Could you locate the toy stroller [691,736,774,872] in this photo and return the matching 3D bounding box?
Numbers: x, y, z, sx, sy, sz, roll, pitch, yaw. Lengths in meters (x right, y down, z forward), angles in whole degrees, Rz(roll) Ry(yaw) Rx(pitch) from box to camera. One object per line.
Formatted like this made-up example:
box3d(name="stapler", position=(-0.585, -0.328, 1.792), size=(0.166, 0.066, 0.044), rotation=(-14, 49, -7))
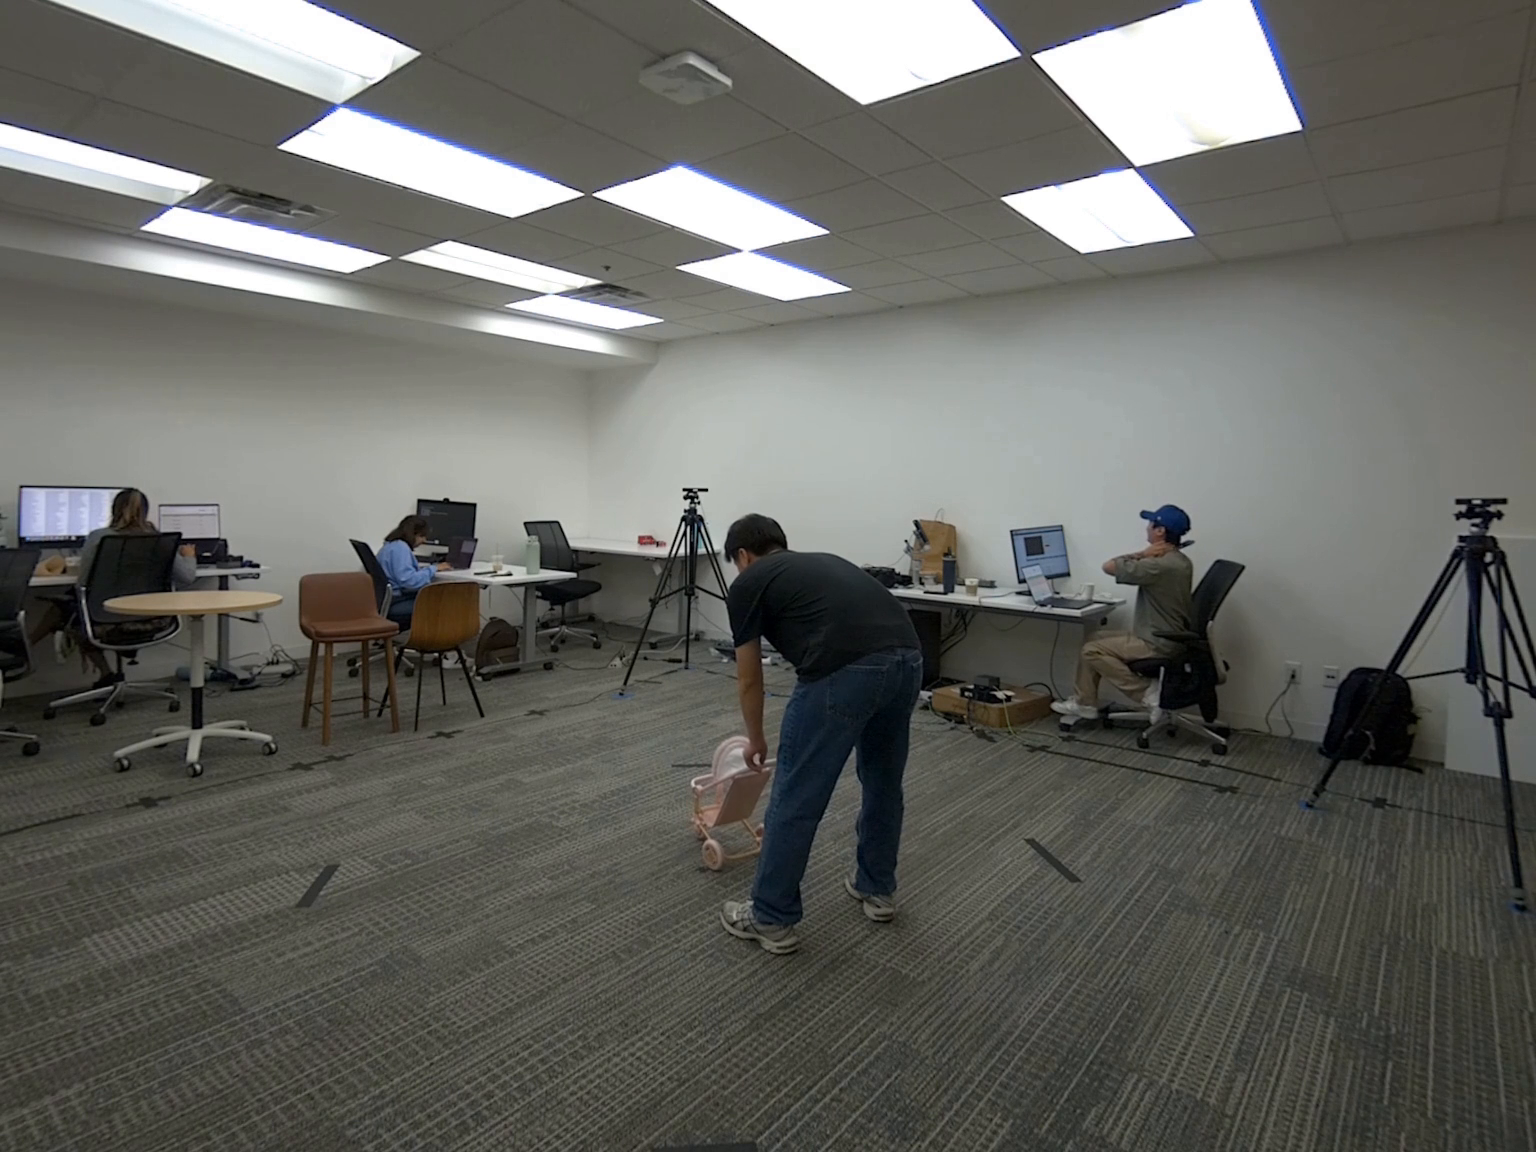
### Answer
box3d(name="toy stroller", position=(-0.151, 0.835, 3.222), size=(0.273, 0.528, 0.356), rotation=(-1, 22, -35))
